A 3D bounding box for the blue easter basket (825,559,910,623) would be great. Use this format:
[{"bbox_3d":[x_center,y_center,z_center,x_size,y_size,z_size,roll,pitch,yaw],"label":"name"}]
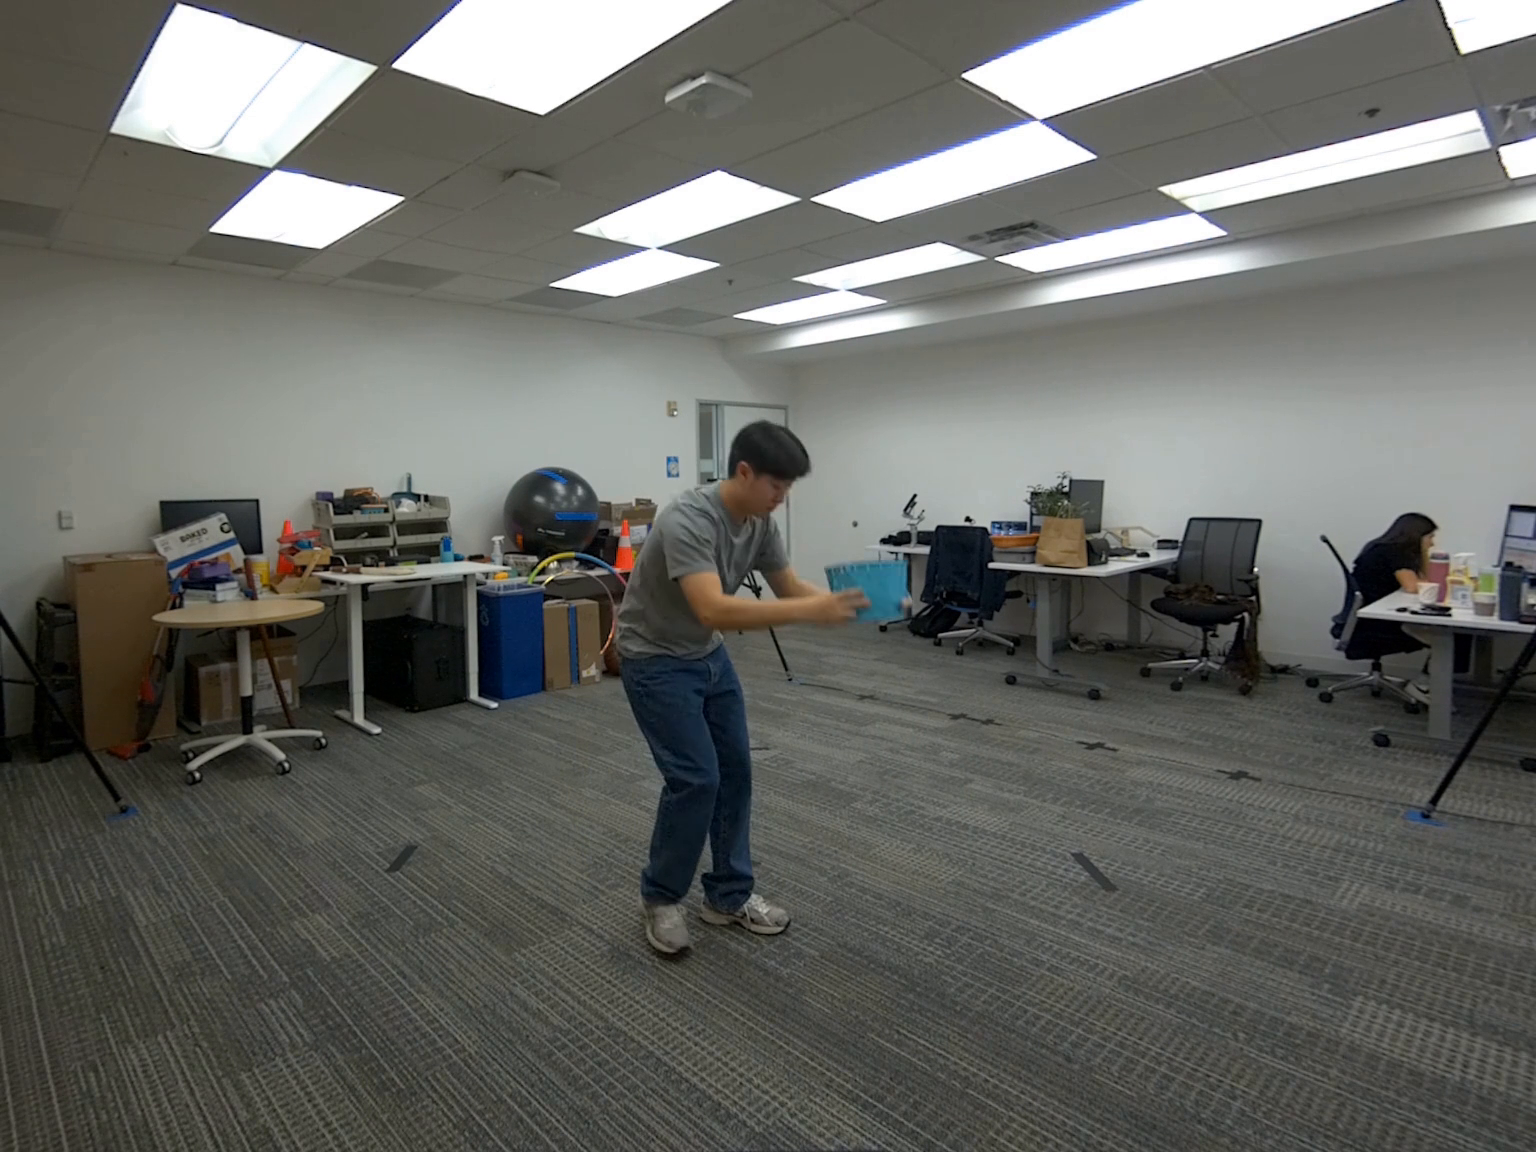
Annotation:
[{"bbox_3d":[0.259,0.031,2.350,0.243,0.157,0.242,-8,-5,-2],"label":"blue easter basket"}]
